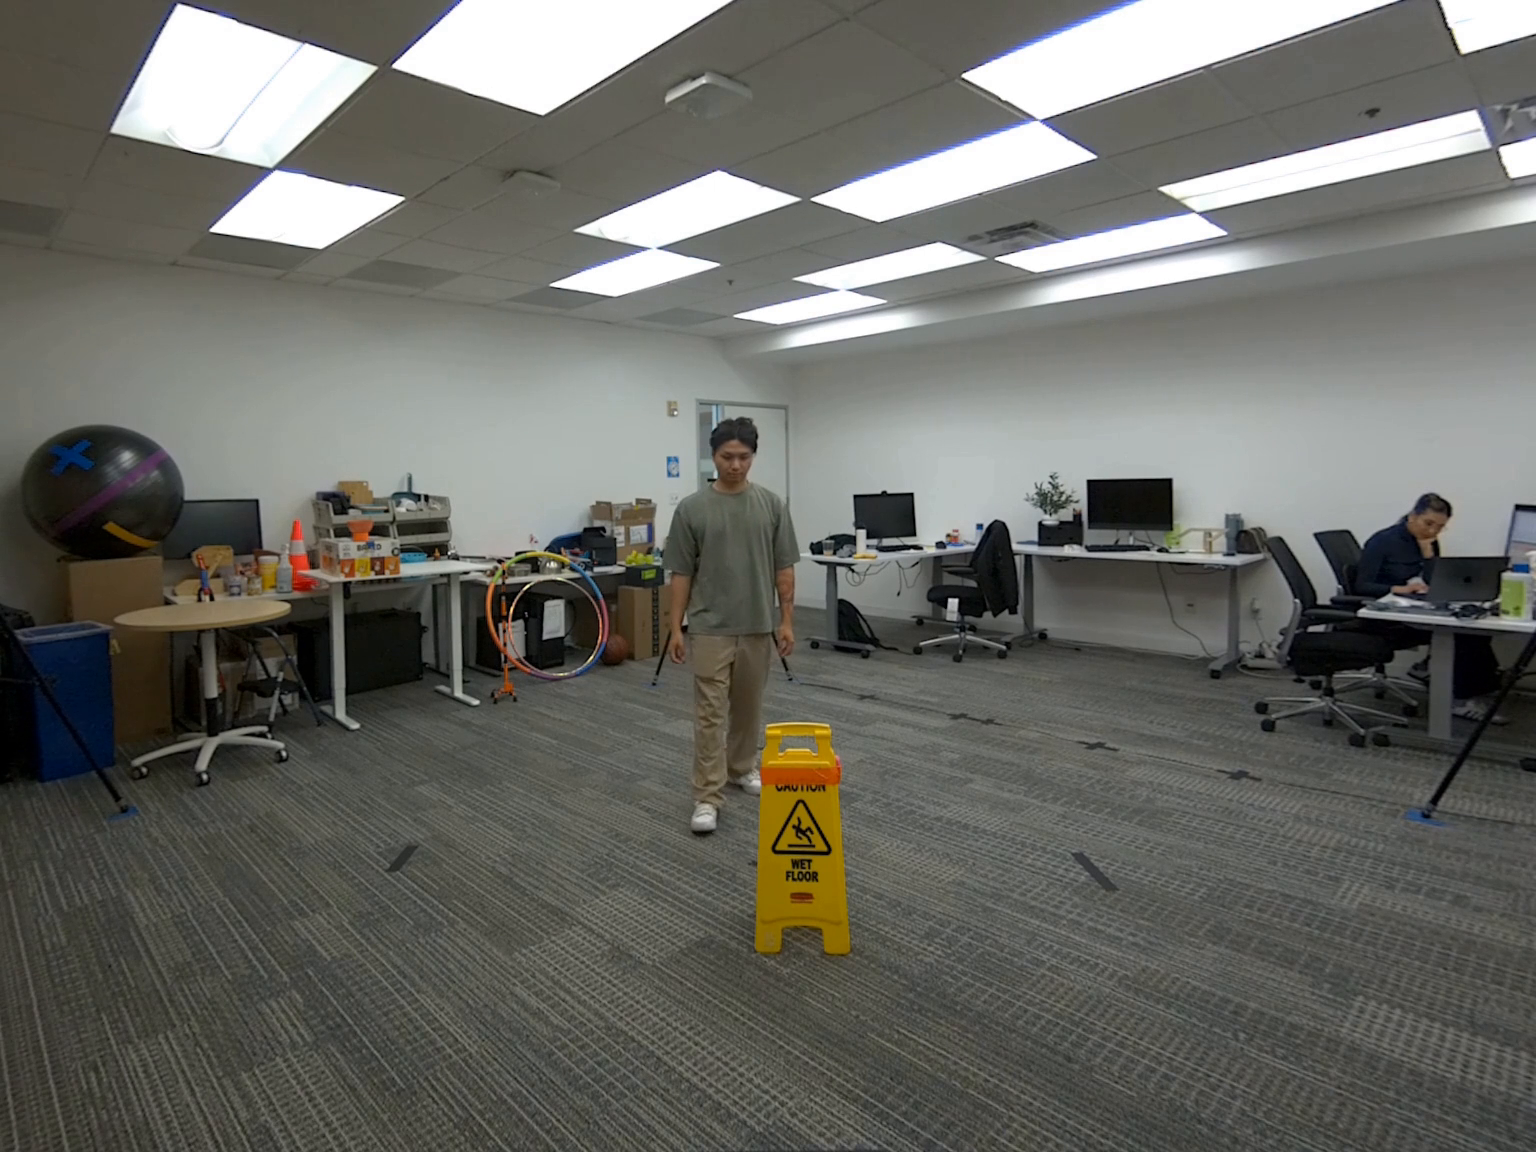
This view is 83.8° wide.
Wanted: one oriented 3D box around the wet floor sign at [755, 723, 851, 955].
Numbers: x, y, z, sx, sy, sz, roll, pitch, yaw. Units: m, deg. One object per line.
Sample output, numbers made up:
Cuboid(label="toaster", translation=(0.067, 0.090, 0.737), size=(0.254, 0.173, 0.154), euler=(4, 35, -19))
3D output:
Cuboid(label="wet floor sign", translation=(0.099, 0.772, 2.616), size=(0.283, 0.644, 0.290), euler=(0, 4, 1))
